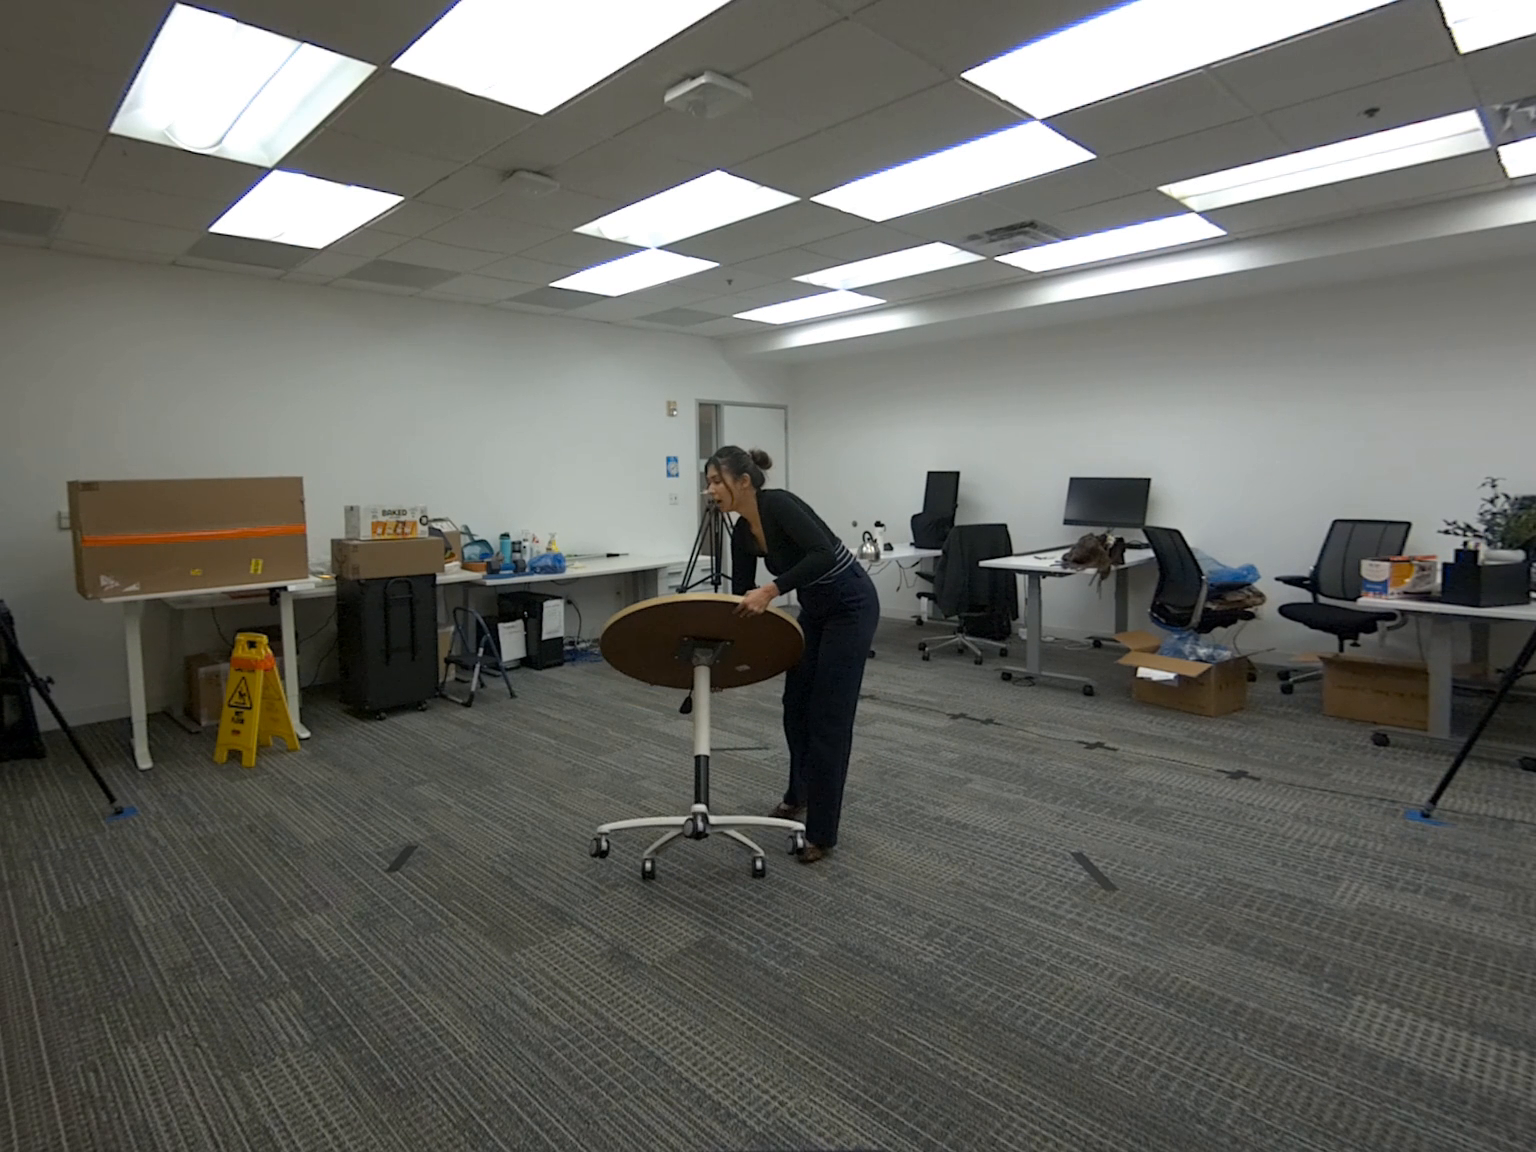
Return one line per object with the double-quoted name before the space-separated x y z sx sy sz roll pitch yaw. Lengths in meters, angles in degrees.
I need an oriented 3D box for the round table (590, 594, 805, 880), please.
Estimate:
"round table" -0.230 0.594 2.994 0.763 0.814 0.746 0 -31 -2
